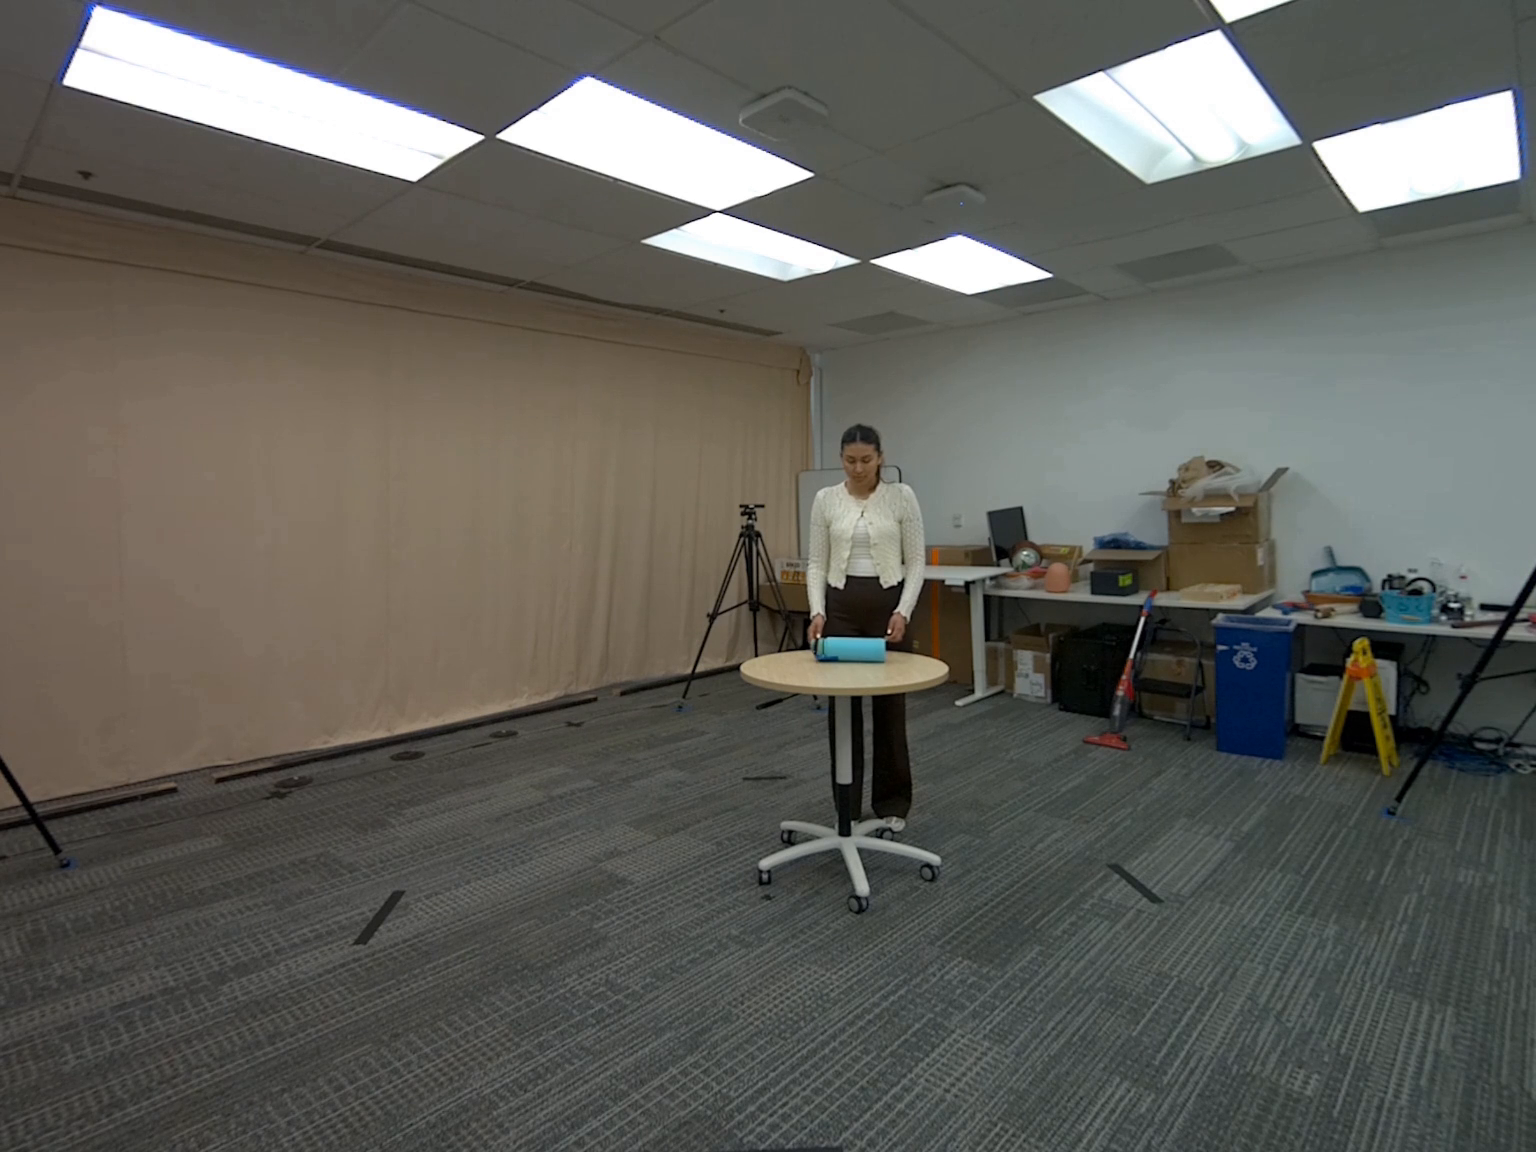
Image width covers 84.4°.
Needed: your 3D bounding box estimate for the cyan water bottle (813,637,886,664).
[{"bbox_3d":[0.310,0.282,3.238,0.286,0.092,0.091,0,4,10],"label":"cyan water bottle"}]
